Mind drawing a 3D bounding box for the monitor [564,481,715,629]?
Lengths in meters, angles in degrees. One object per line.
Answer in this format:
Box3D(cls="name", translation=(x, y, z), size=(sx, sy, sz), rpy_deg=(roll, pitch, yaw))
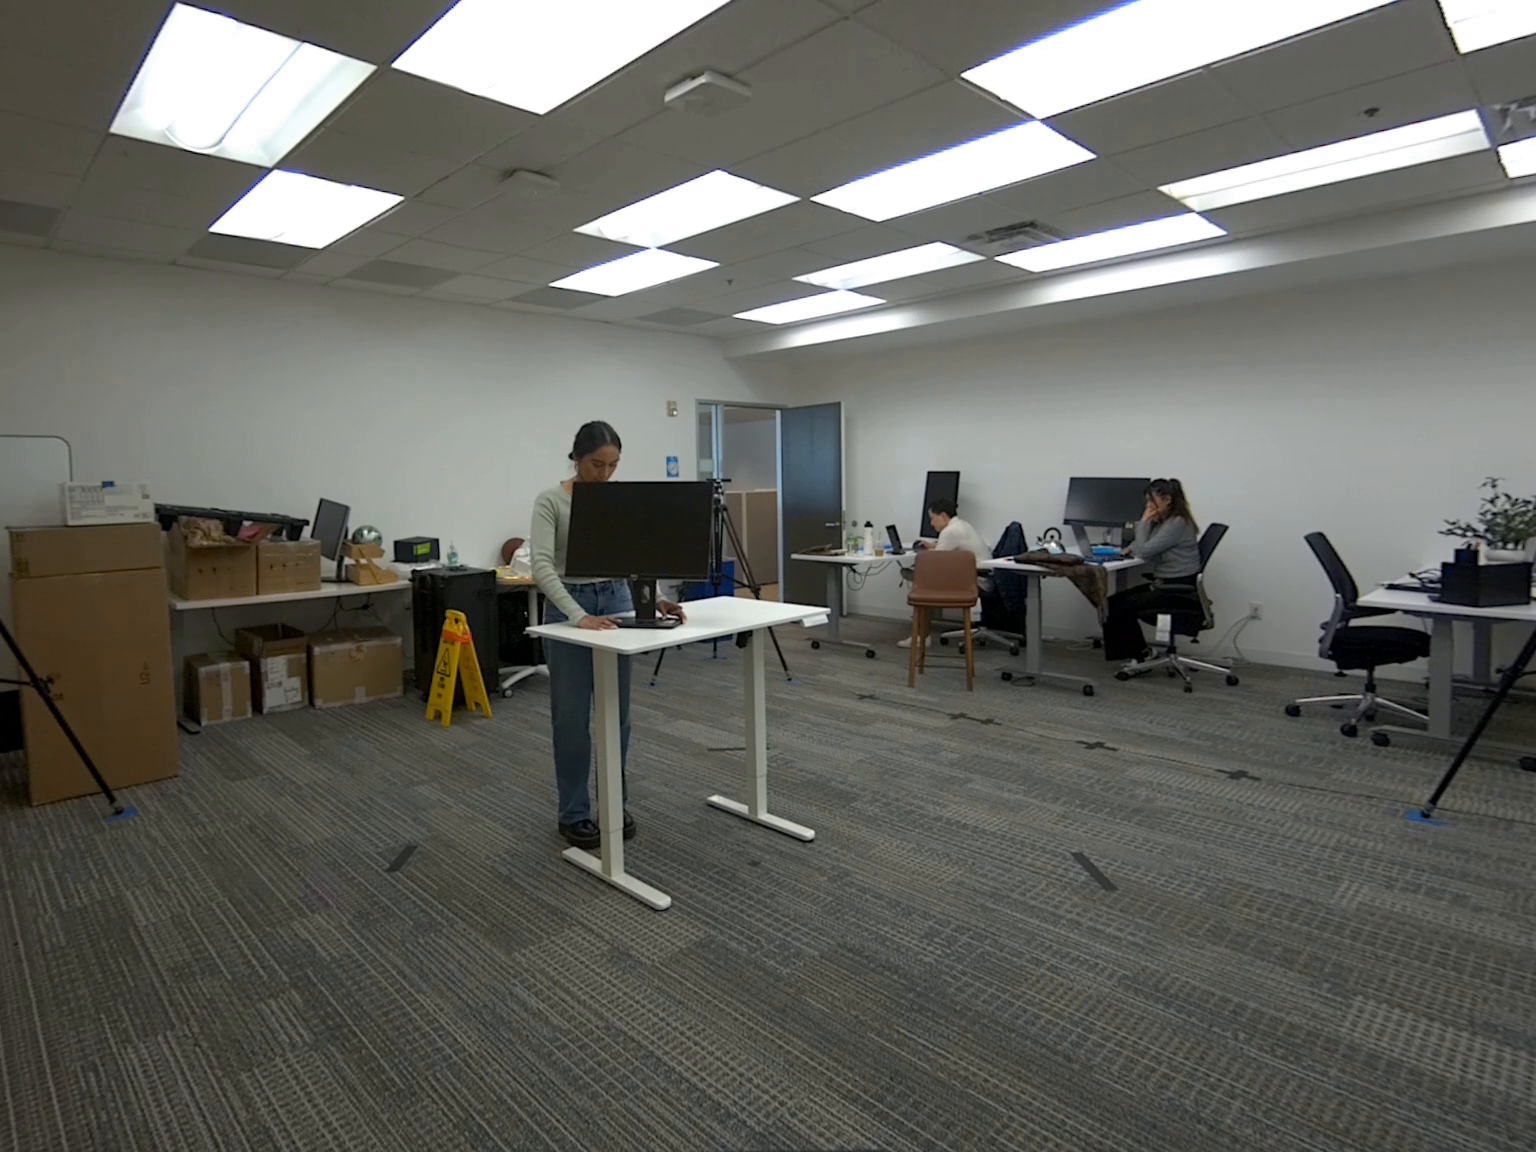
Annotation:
Box3D(cls="monitor", translation=(-0.459, -0.079, 3.063), size=(0.537, 0.512, 0.173), rpy_deg=(2, 8, 13))
